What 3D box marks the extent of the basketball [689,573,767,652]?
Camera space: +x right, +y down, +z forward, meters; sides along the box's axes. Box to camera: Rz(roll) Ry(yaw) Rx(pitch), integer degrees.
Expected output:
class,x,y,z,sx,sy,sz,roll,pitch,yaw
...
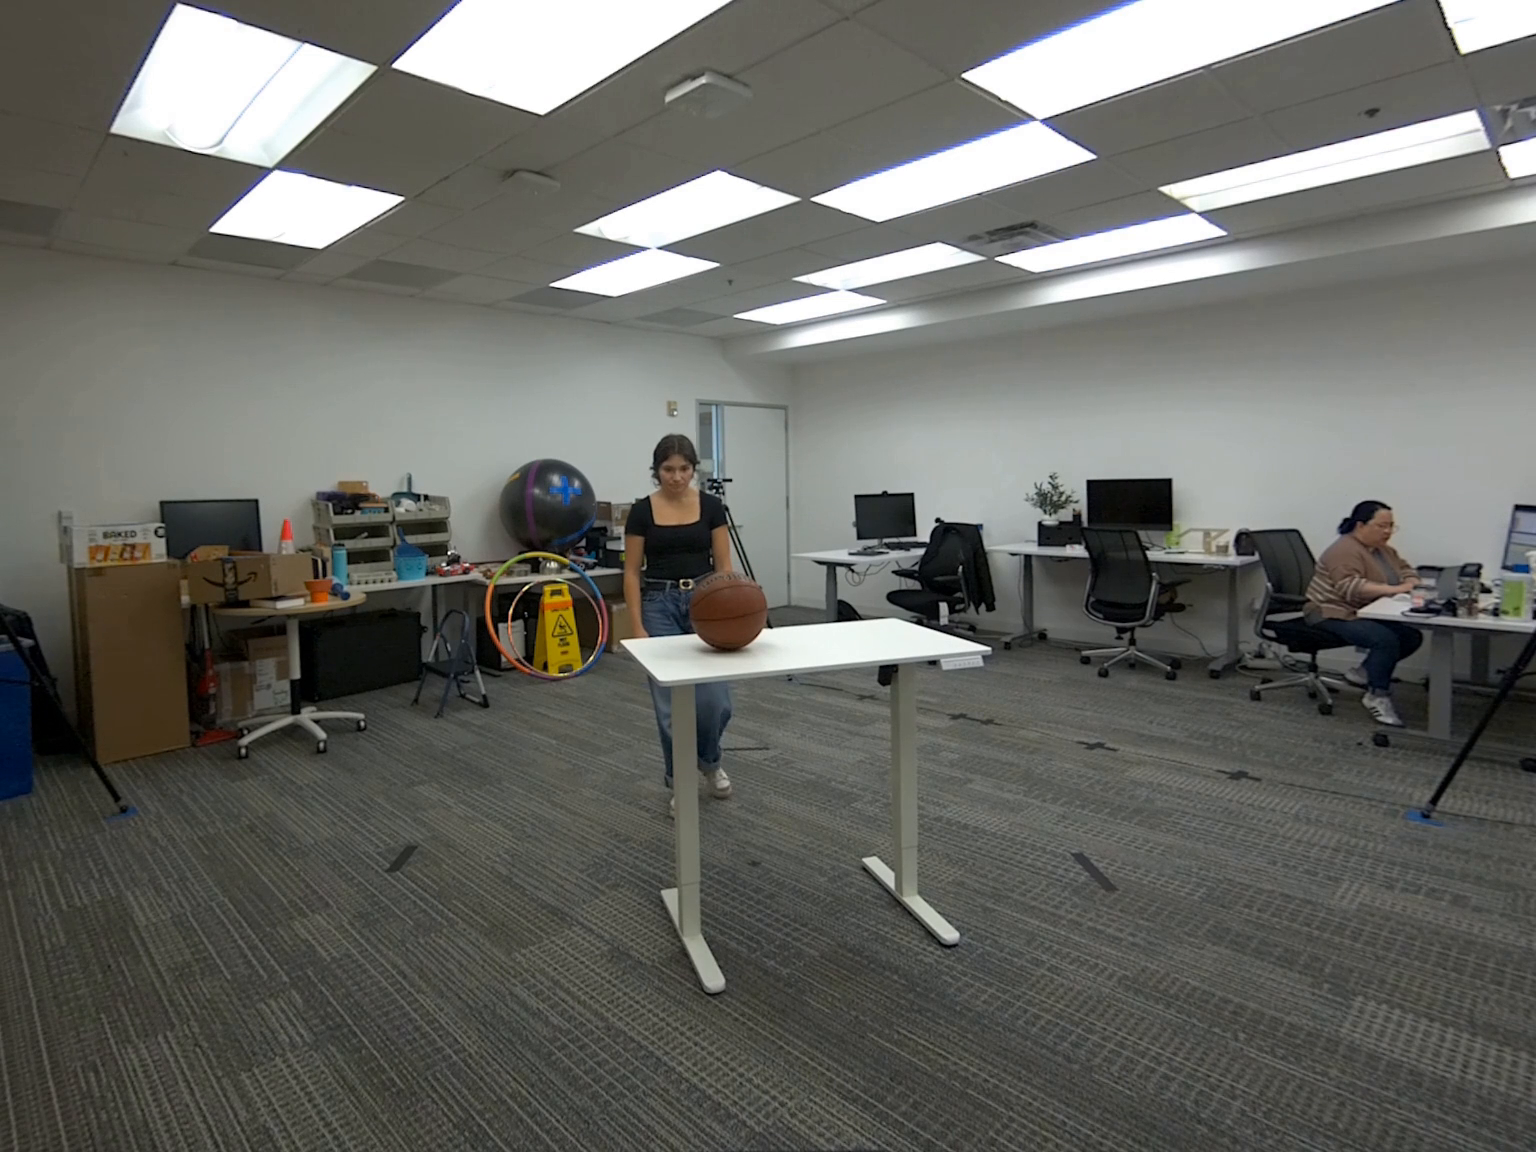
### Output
class,x,y,z,sx,sy,sz,roll,pitch,yaw
basketball,-0.121,0.102,2.602,0.236,0.235,0.237,-1,5,-2
